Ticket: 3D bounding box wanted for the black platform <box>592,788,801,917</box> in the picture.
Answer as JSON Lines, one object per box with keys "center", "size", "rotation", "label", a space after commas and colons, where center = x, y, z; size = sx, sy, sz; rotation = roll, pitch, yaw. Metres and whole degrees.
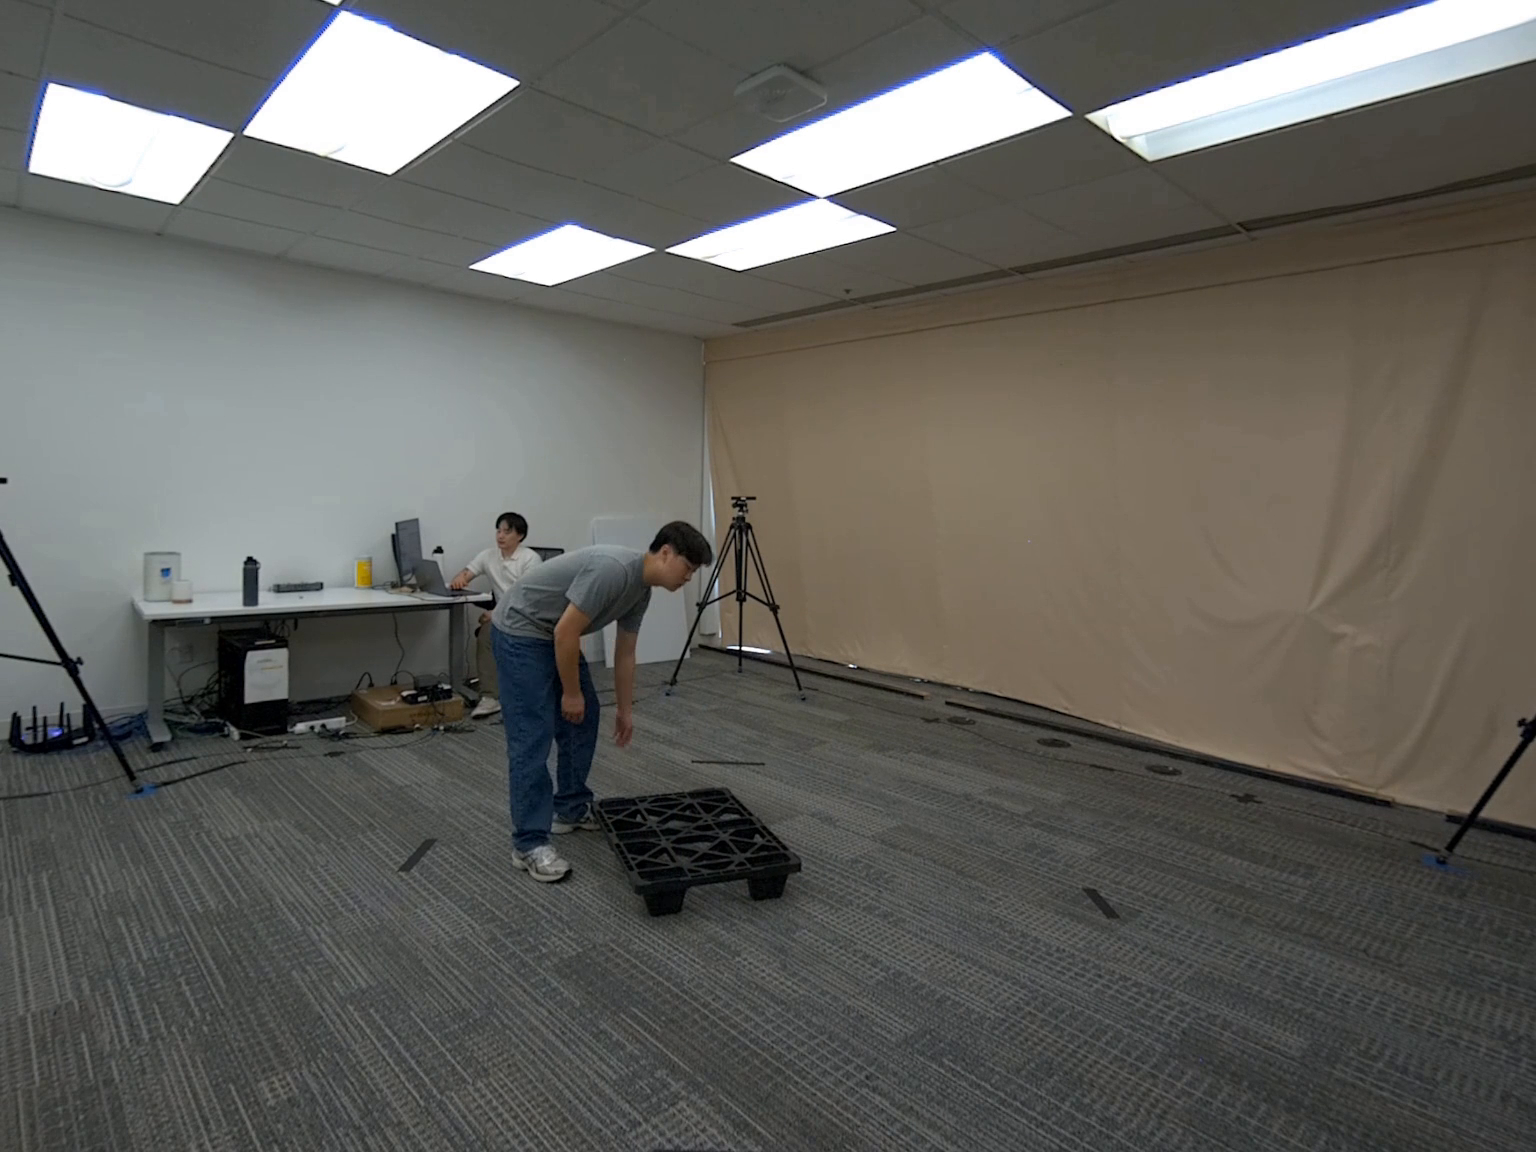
{"center": [-0.310, 1.026, 3.198], "size": [0.595, 0.143, 0.821], "rotation": [0, 6, -22], "label": "black platform"}
